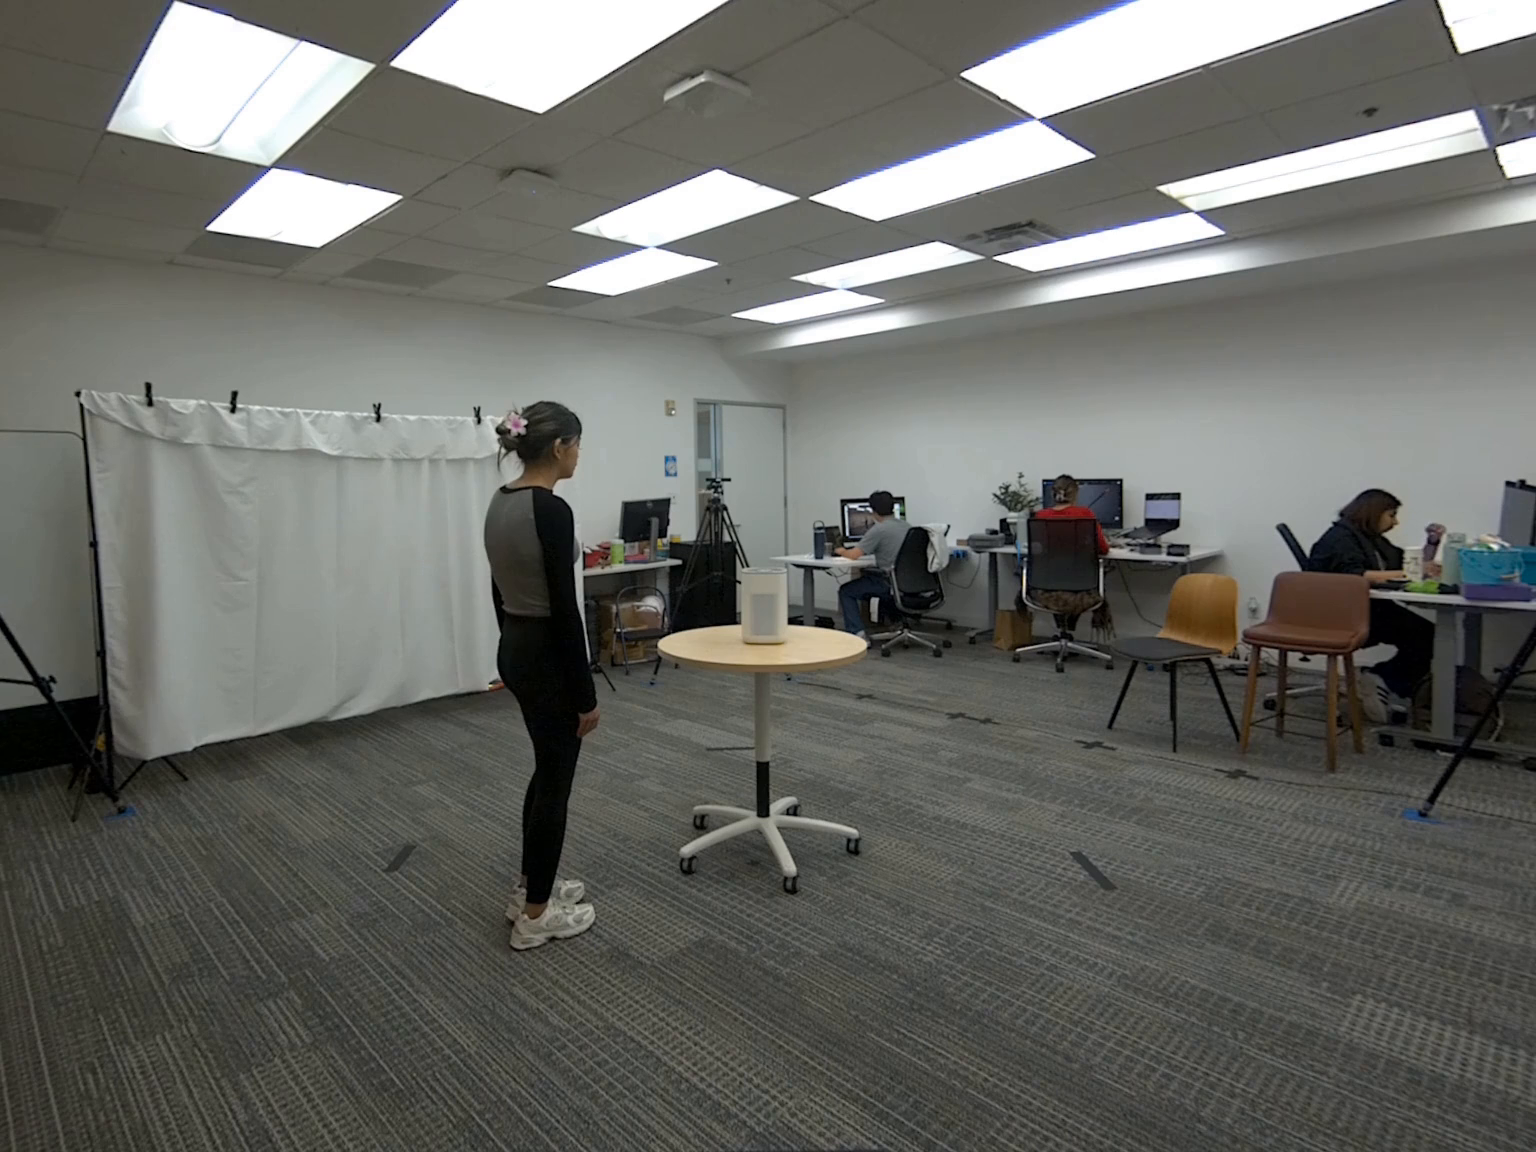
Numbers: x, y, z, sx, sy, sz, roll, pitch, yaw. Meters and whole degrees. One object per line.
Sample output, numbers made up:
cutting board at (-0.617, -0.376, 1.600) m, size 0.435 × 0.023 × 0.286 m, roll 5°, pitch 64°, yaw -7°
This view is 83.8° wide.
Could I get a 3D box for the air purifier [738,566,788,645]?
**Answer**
air purifier at (-0.010, 0.110, 3.160) m, size 0.171 × 0.265 × 0.171 m, roll -1°, pitch 3°, yaw -1°
